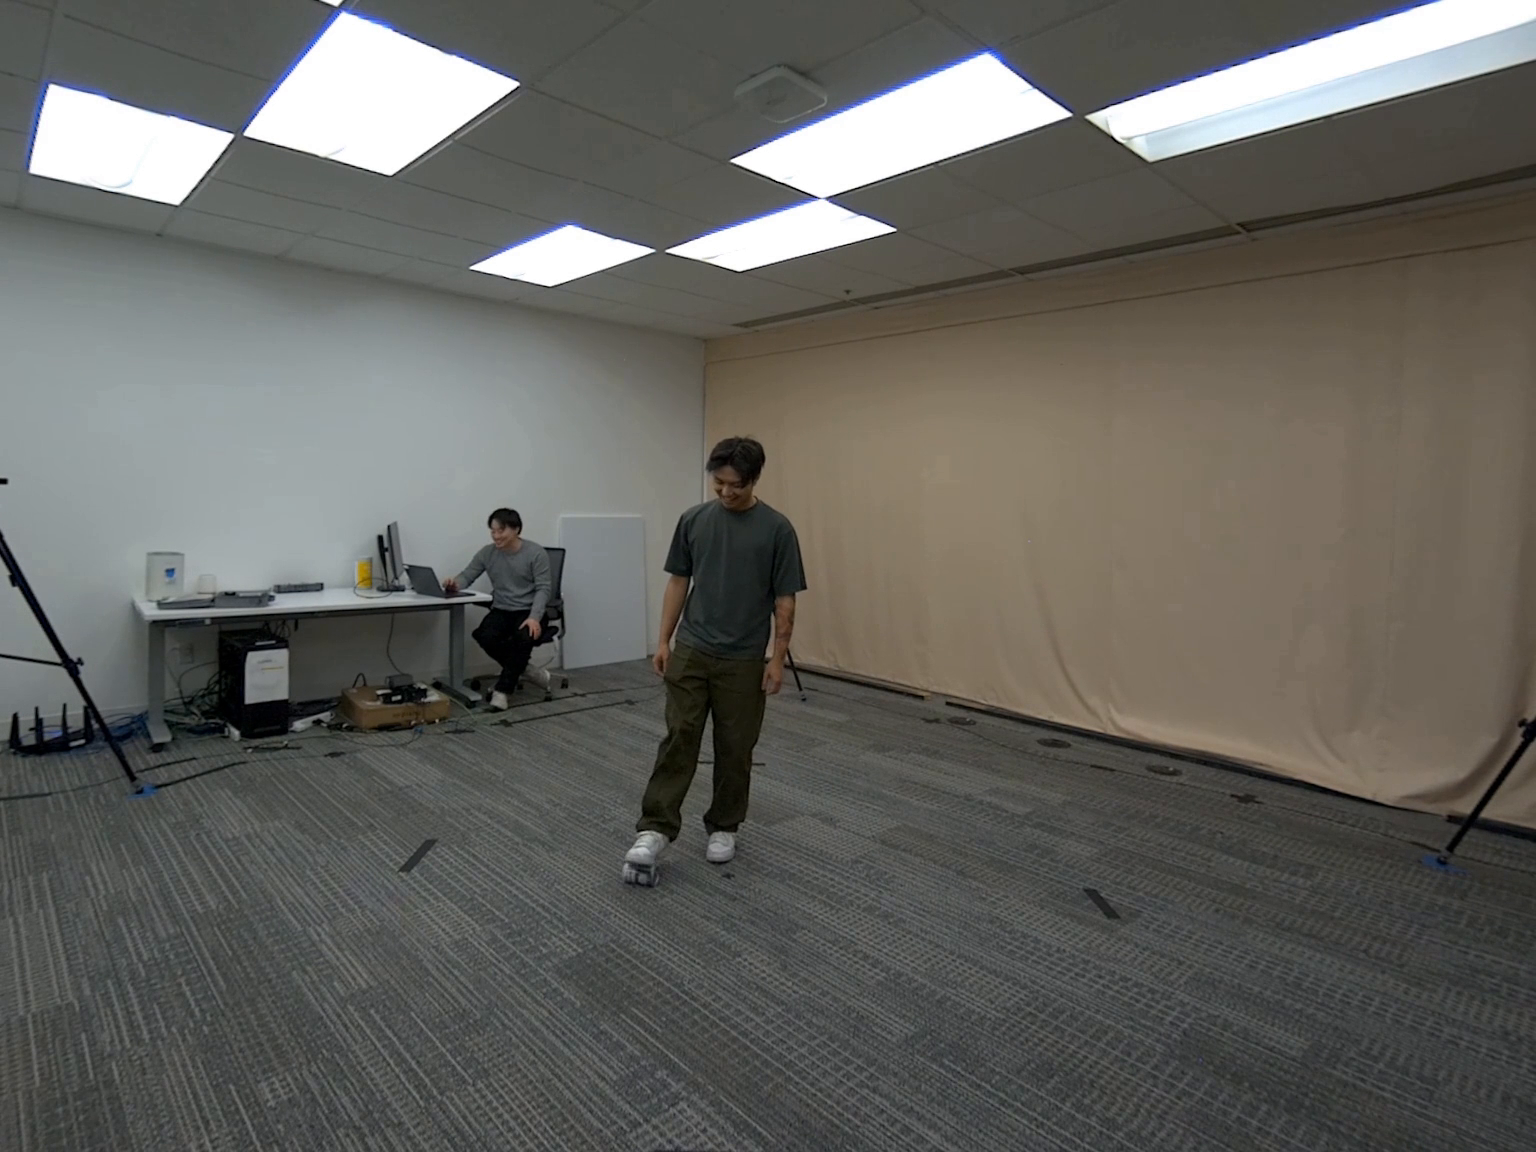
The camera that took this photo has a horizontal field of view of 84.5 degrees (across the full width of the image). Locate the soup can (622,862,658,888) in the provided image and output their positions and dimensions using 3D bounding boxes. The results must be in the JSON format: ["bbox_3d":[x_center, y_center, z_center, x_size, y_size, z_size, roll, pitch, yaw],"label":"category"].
[{"bbox_3d":[-0.477,1.076,3.030,0.123,0.067,0.066,6,5,13],"label":"soup can"}]
